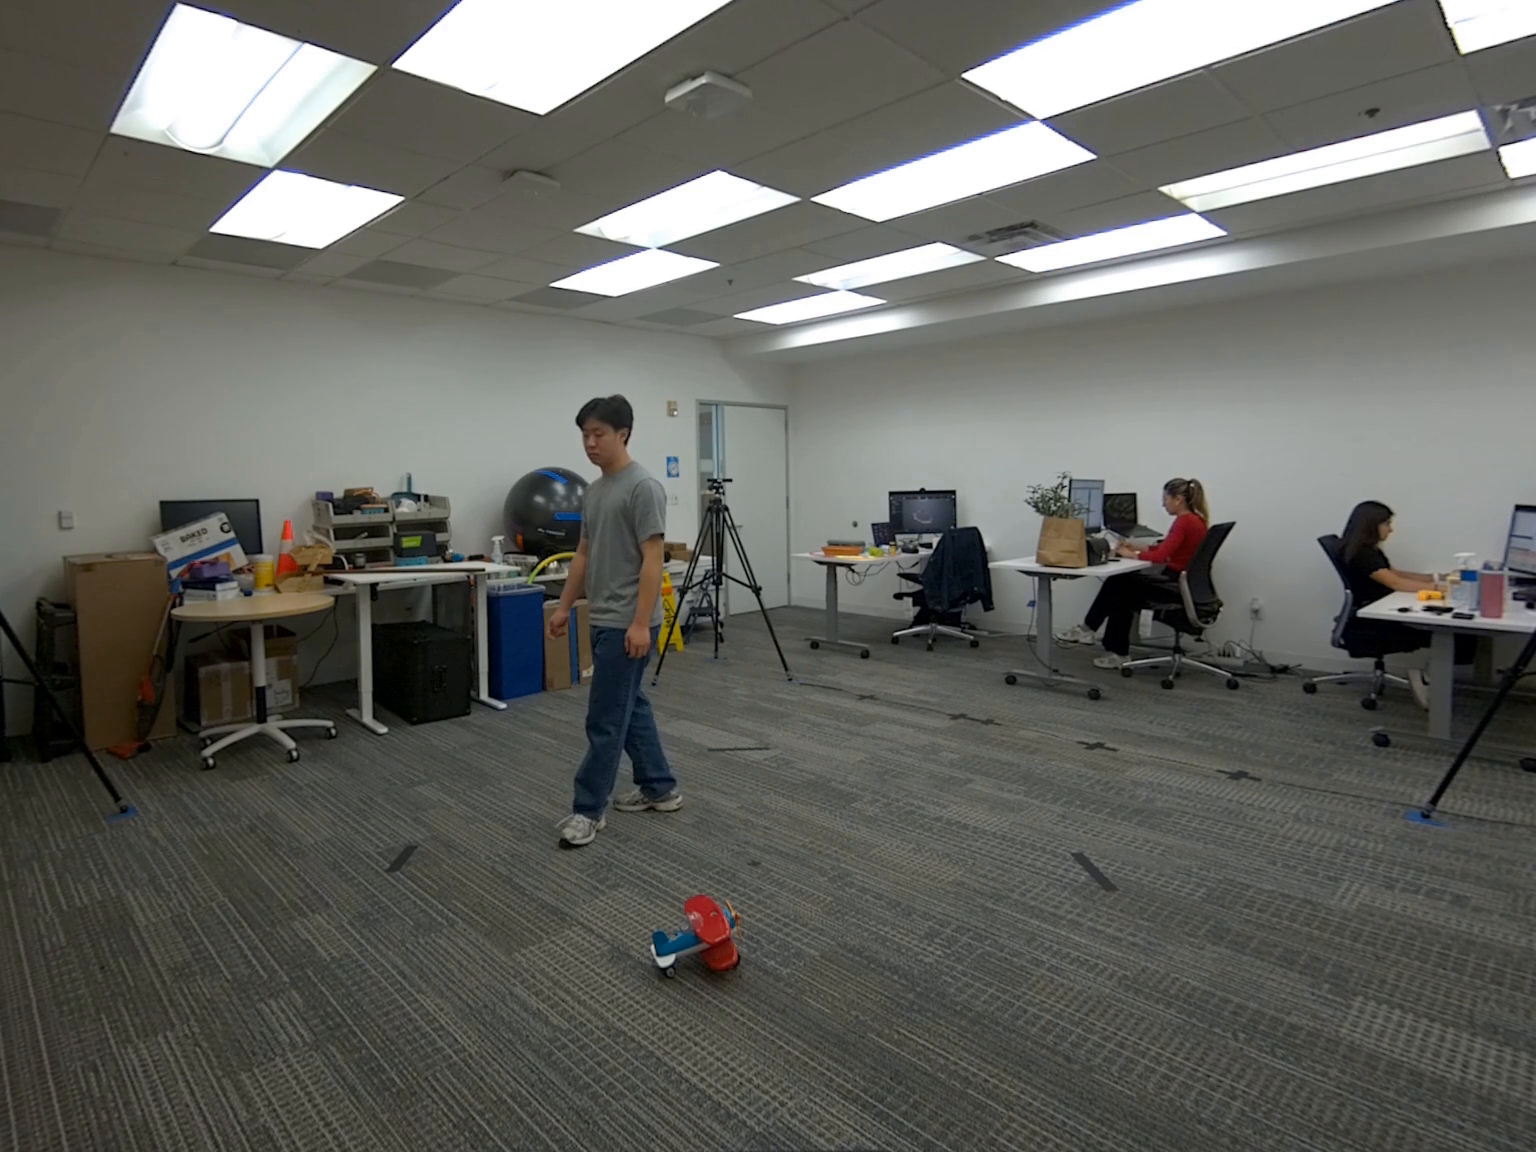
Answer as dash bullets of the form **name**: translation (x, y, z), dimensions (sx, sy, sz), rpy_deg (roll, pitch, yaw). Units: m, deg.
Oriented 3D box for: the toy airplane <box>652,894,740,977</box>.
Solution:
- **toy airplane**: translation (-0.190, 1.056, 2.436), dimensions (0.259, 0.156, 0.252), rpy_deg (3, 7, 41)
